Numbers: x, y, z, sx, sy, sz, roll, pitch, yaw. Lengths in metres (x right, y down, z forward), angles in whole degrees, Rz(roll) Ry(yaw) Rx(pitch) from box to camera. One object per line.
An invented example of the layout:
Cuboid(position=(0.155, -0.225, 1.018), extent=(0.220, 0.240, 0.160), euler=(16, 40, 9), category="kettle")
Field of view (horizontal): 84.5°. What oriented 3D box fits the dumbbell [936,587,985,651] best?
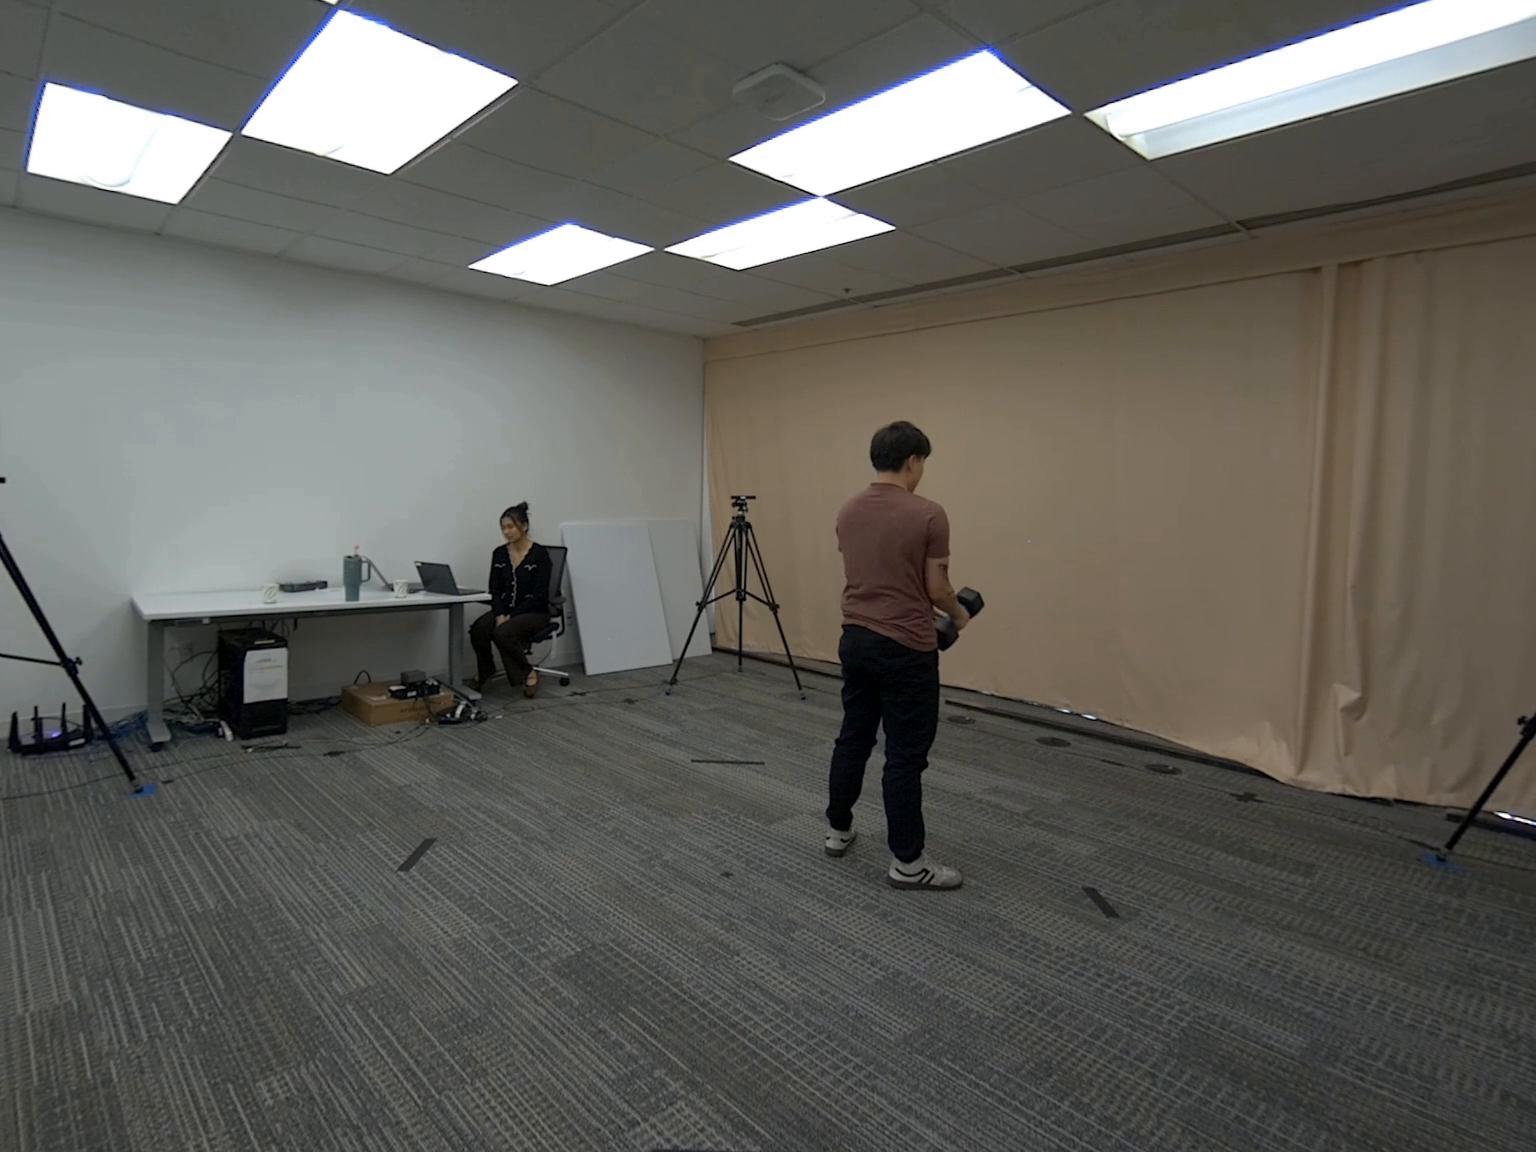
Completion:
Cuboid(position=(0.727, 0.168, 3.327), extent=(0.293, 0.110, 0.122), euler=(-42, -9, -33), category="dumbbell")
